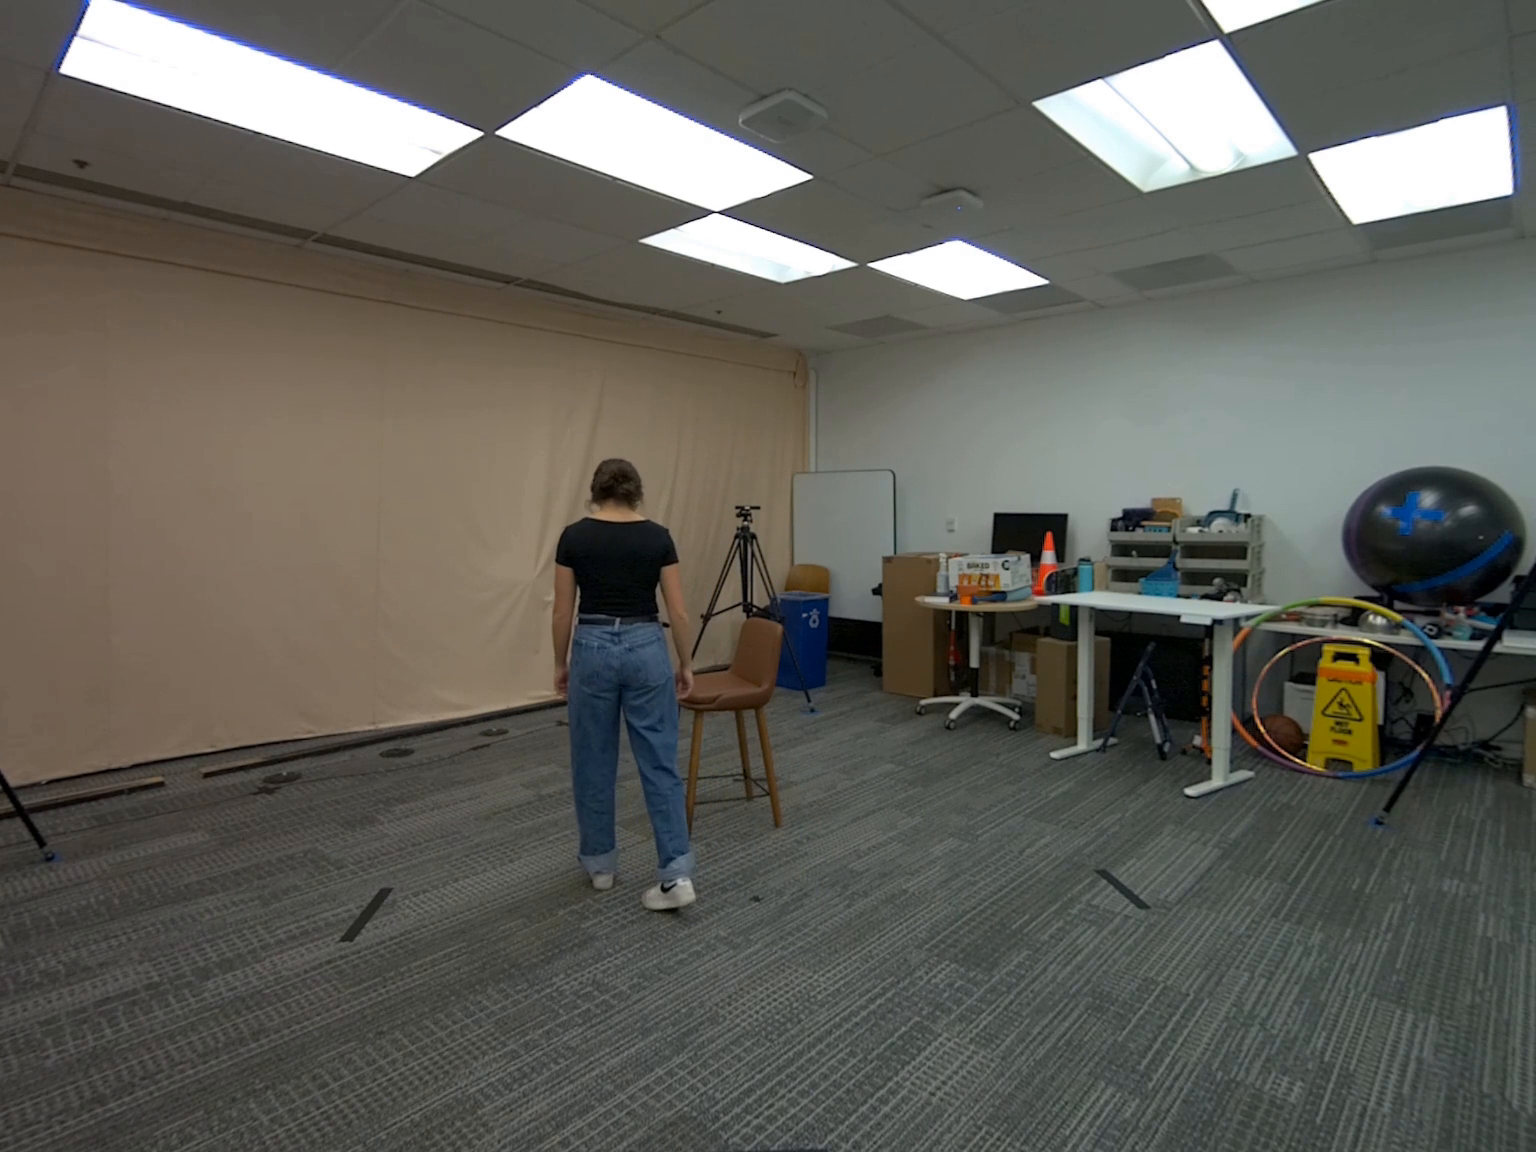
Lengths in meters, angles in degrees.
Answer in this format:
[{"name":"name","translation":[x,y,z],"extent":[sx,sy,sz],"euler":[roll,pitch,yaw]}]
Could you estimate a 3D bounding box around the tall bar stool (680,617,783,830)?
[{"name":"tall bar stool","translation":[-0.207,0.646,3.743],"extent":[0.458,0.888,0.467],"euler":[1,2,-21]}]
